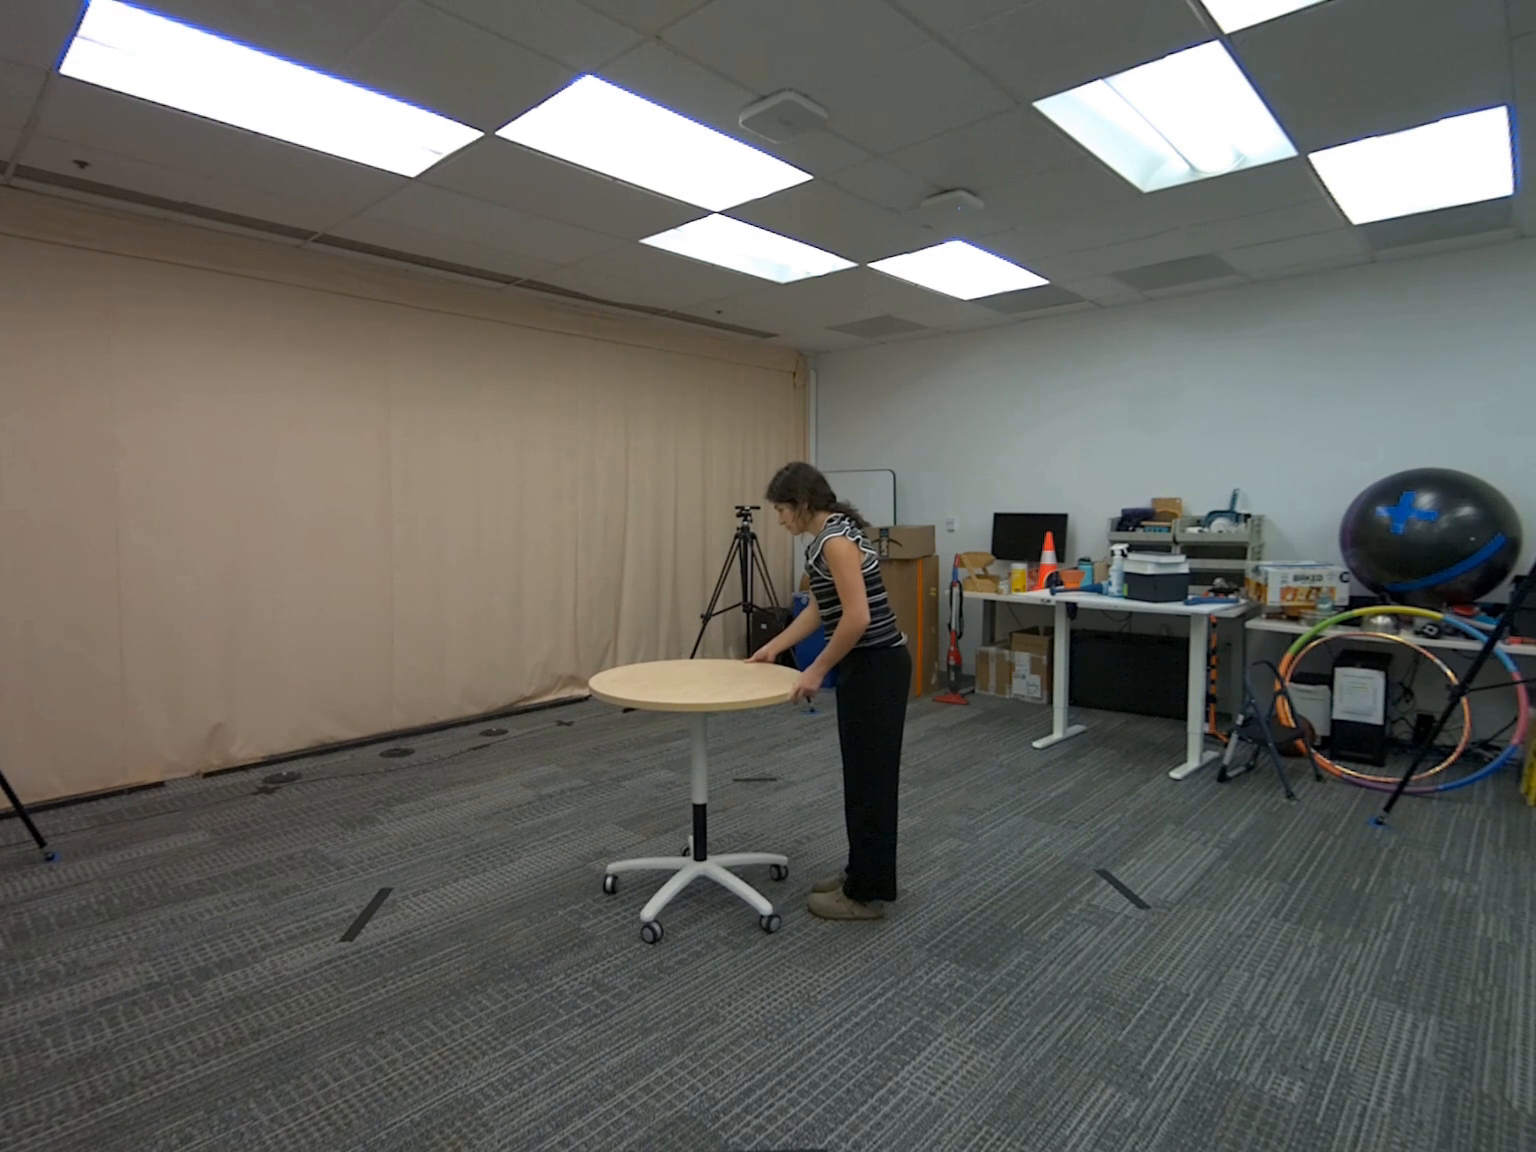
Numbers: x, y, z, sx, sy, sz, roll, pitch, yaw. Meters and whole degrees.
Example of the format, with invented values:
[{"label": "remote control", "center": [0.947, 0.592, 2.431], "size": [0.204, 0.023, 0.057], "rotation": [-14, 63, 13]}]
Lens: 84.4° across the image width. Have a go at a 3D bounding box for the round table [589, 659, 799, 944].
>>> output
[{"label": "round table", "center": [-0.229, 0.752, 2.983], "size": [0.784, 0.785, 0.788], "rotation": [-1, 3, -2]}]
